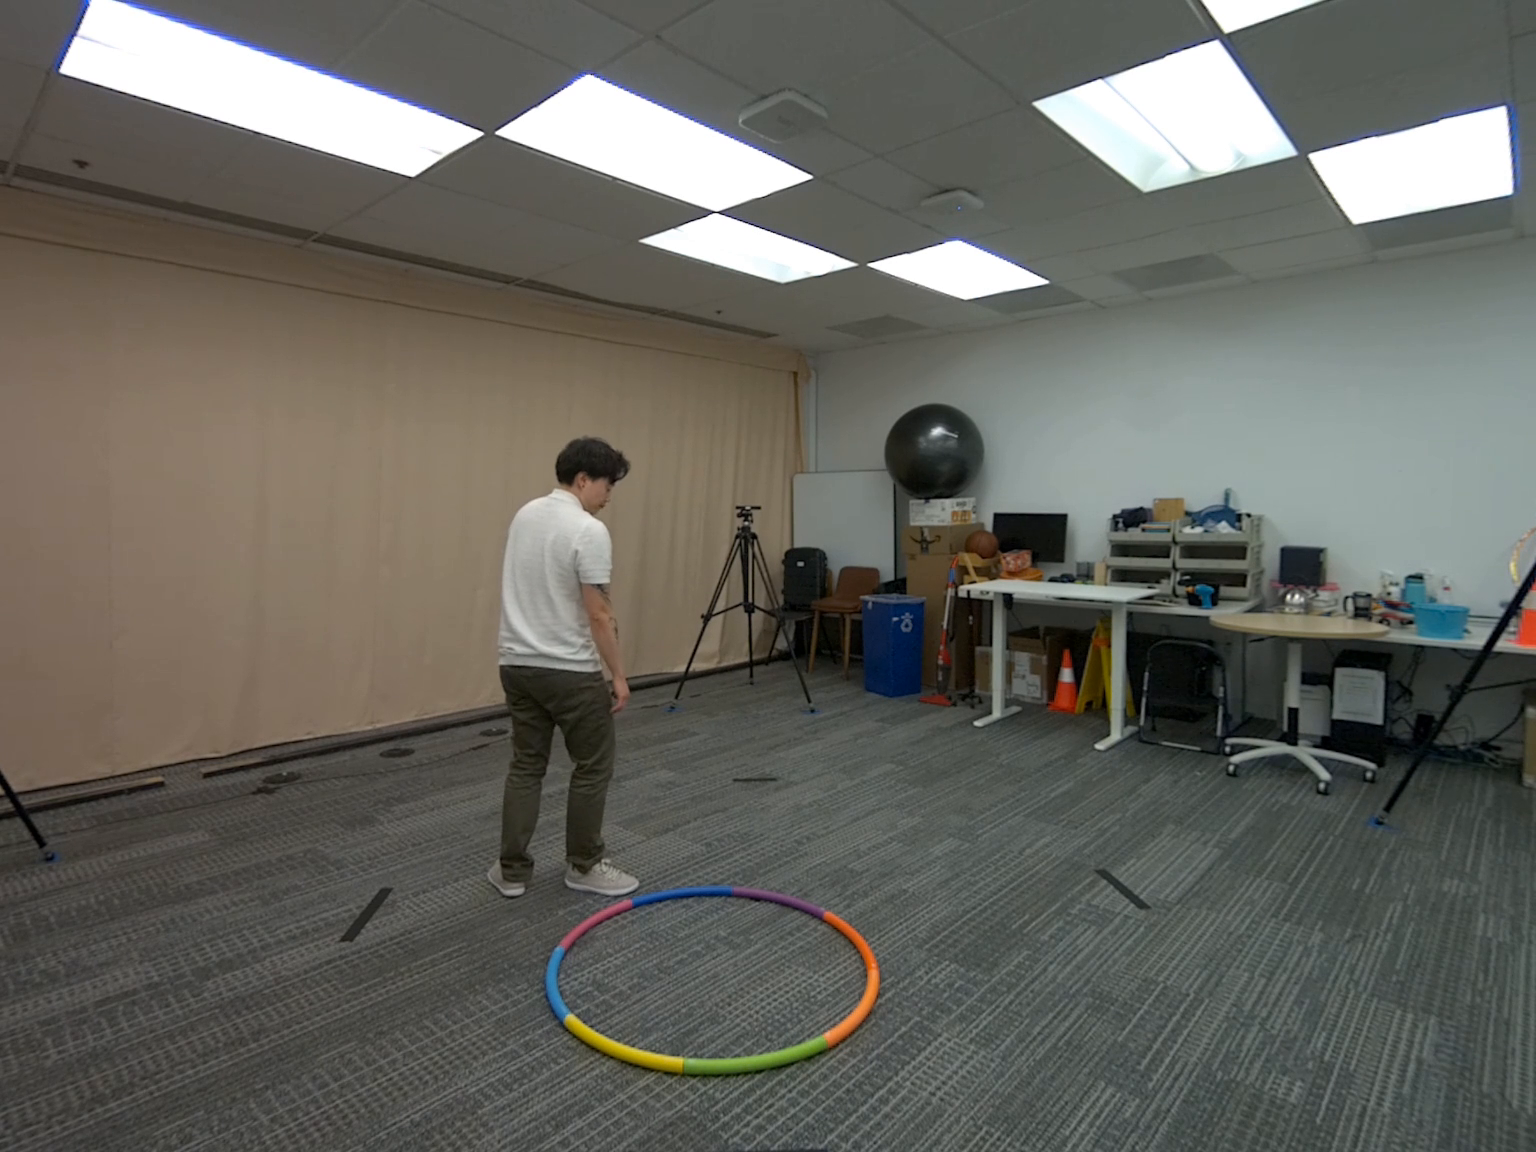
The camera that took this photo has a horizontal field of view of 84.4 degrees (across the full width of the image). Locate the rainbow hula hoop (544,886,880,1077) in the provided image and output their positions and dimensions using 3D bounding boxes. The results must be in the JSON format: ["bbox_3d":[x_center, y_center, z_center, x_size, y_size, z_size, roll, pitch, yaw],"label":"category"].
[{"bbox_3d":[-0.159,1.152,2.540,0.978,0.035,0.982,0,4,-2],"label":"rainbow hula hoop"}]
